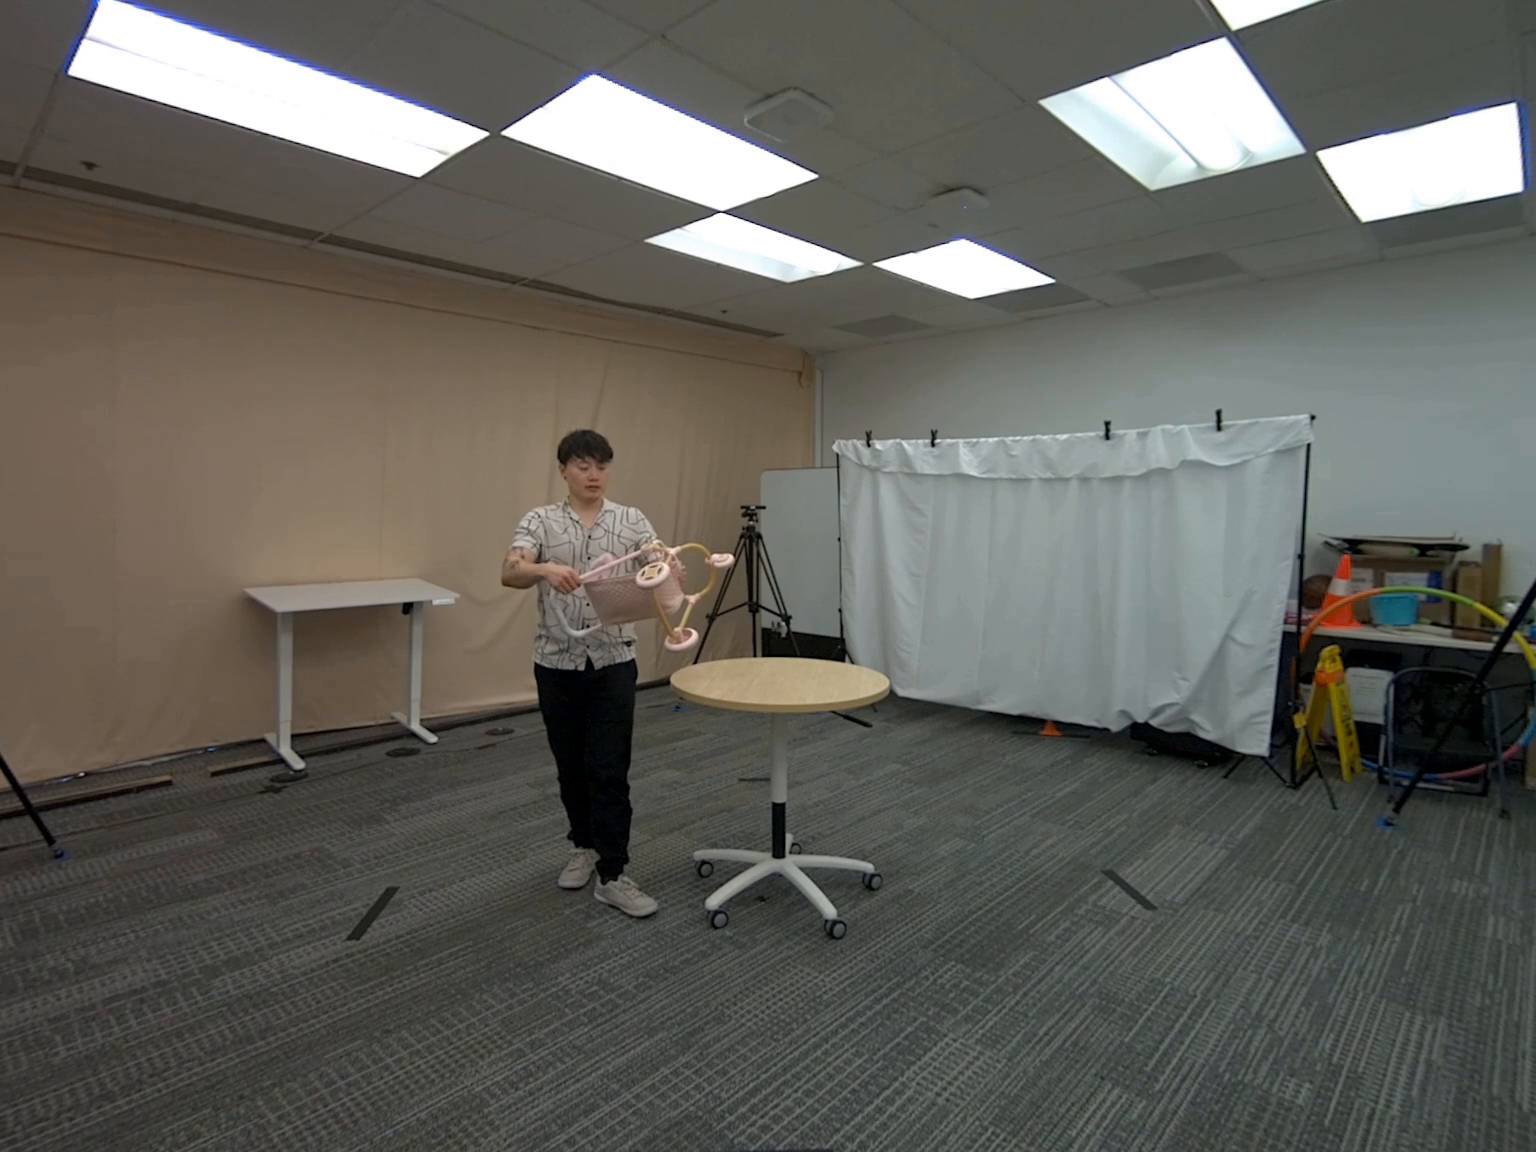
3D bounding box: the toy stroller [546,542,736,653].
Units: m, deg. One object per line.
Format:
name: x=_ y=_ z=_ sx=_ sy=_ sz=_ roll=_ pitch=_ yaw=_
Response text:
toy stroller: x=-0.390 y=0.031 z=2.704 sx=0.550 sy=0.274 sz=0.341 roll=-1 pitch=40 yaw=30
